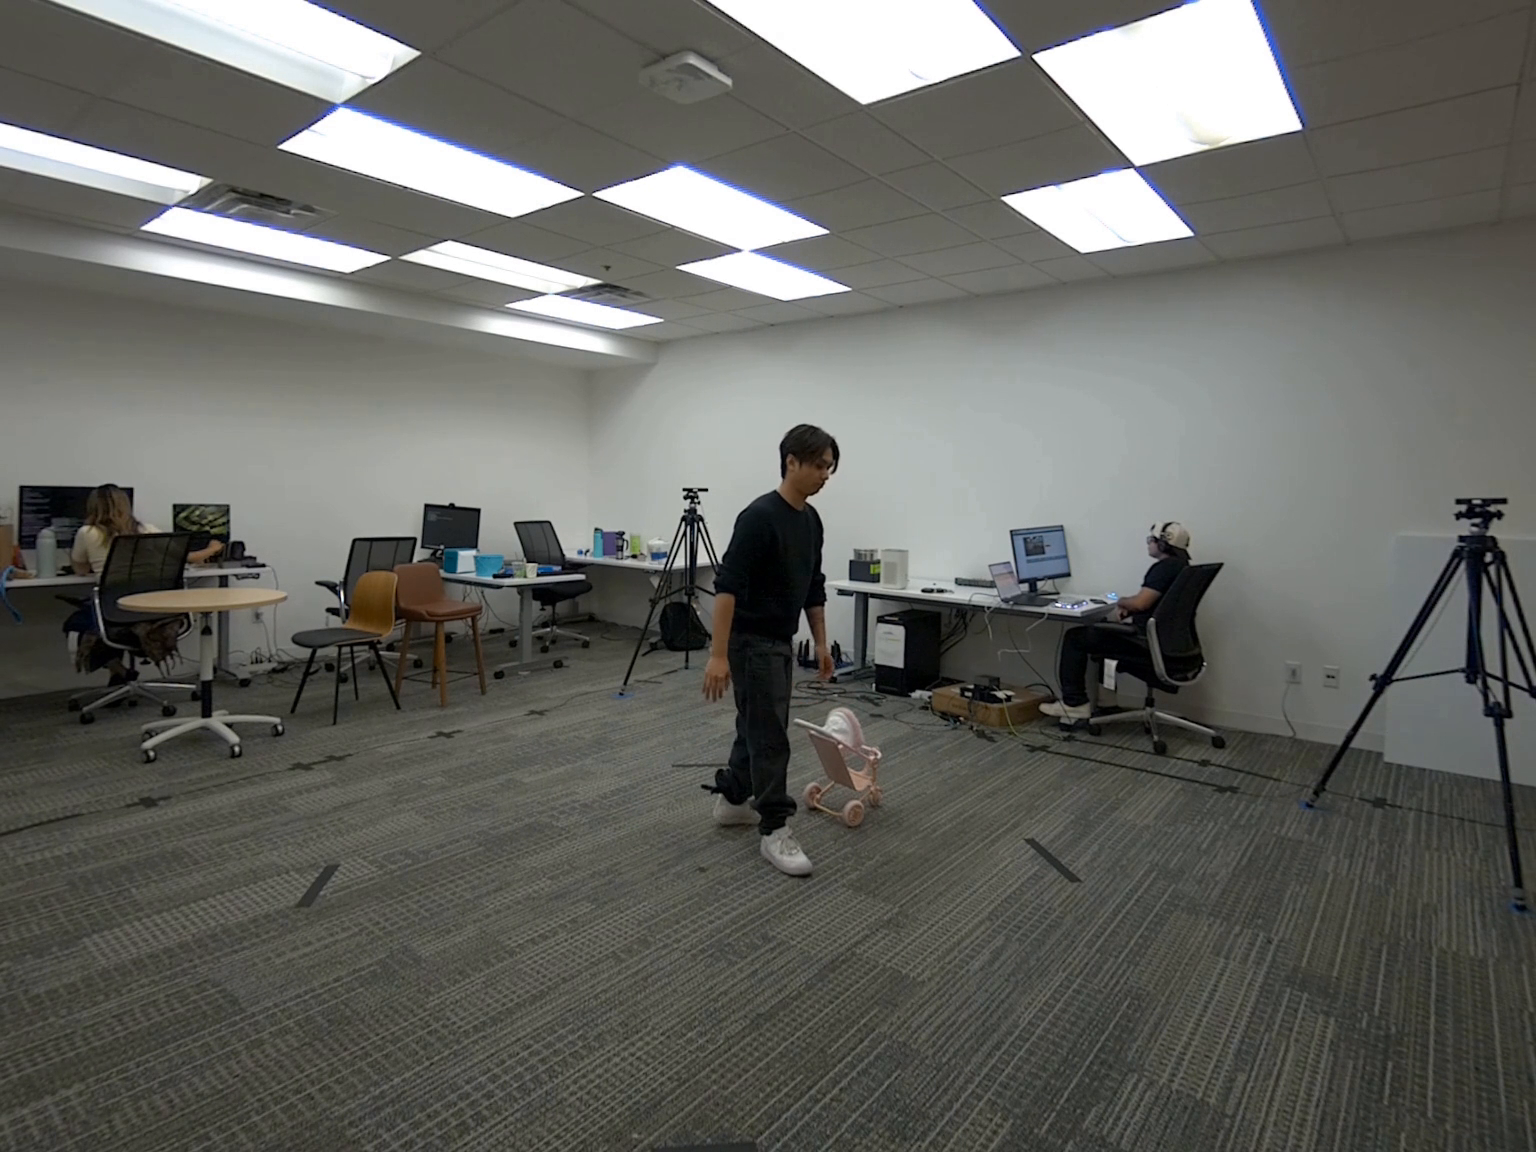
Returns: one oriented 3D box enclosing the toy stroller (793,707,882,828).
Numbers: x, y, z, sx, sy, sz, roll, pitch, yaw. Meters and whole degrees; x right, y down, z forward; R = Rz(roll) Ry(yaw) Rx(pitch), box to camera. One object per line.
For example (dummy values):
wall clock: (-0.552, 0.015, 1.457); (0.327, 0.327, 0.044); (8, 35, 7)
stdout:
toy stroller: (0.321, 0.802, 3.668); (0.335, 0.528, 0.290); (-21, 14, -31)
